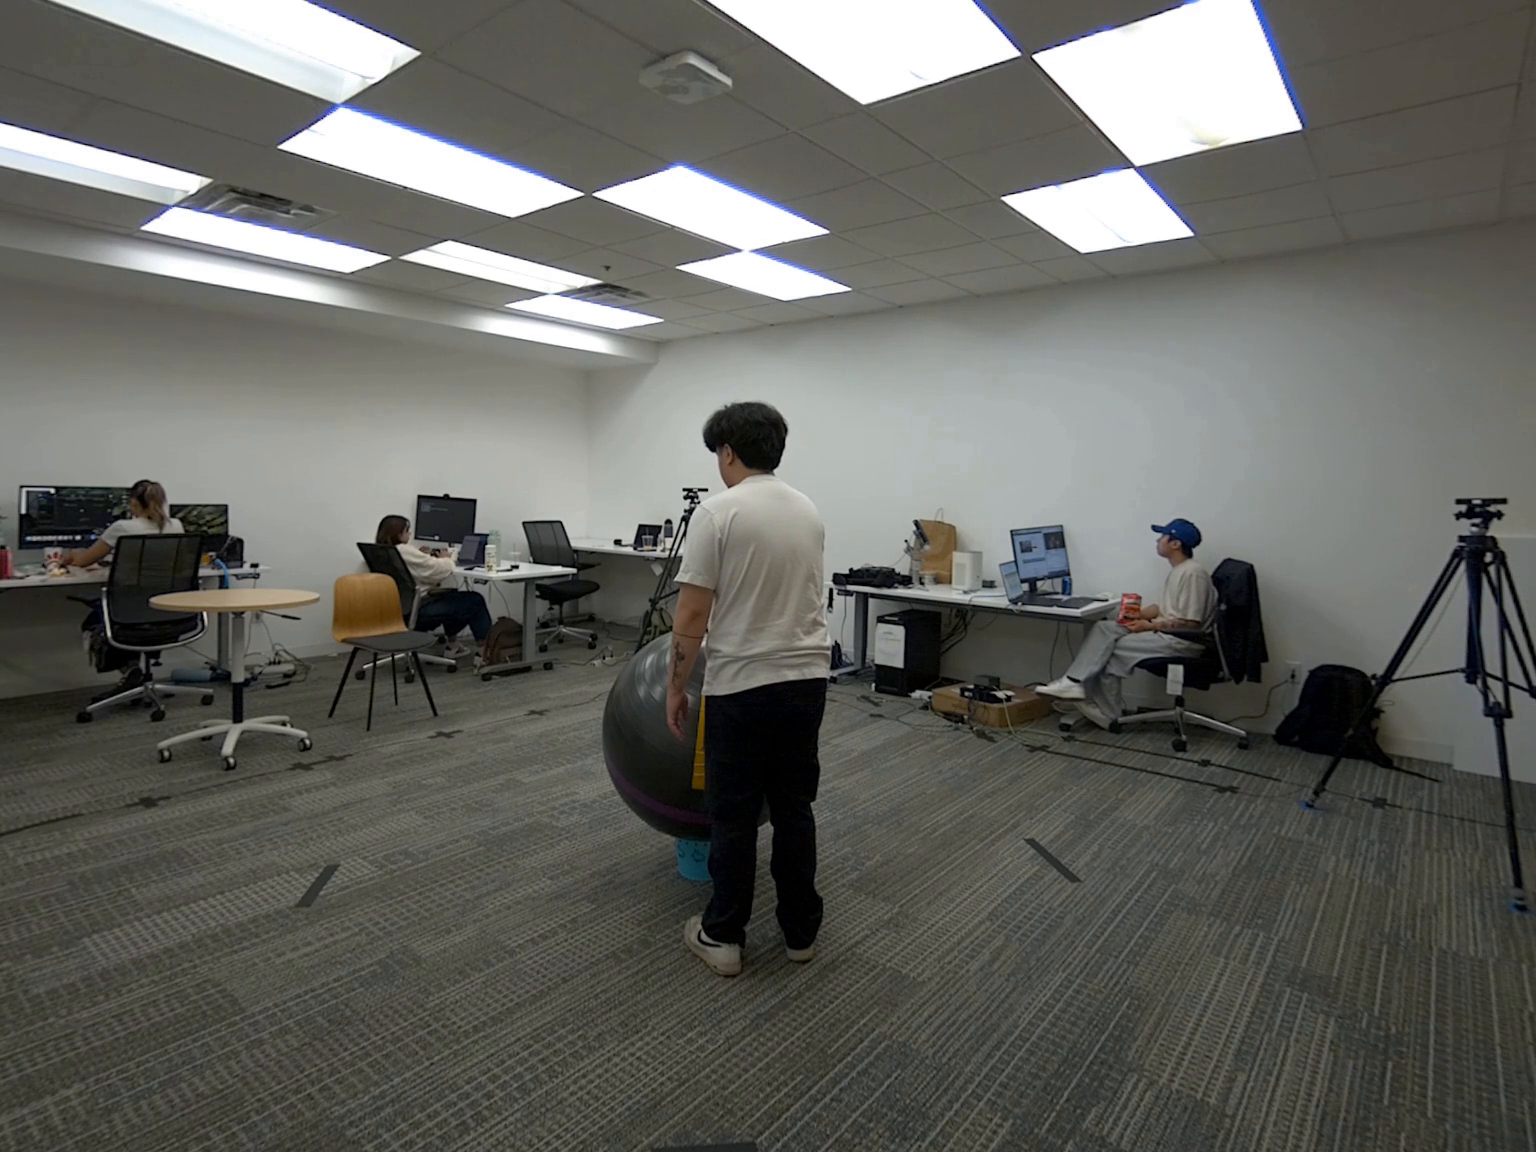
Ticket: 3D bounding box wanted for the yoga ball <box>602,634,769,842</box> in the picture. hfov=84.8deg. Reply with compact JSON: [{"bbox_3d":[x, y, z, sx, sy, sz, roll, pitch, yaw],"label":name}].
[{"bbox_3d":[-0.228,0.564,3.090,0.757,0.756,0.761,1,4,-2],"label":"yoga ball"}]
